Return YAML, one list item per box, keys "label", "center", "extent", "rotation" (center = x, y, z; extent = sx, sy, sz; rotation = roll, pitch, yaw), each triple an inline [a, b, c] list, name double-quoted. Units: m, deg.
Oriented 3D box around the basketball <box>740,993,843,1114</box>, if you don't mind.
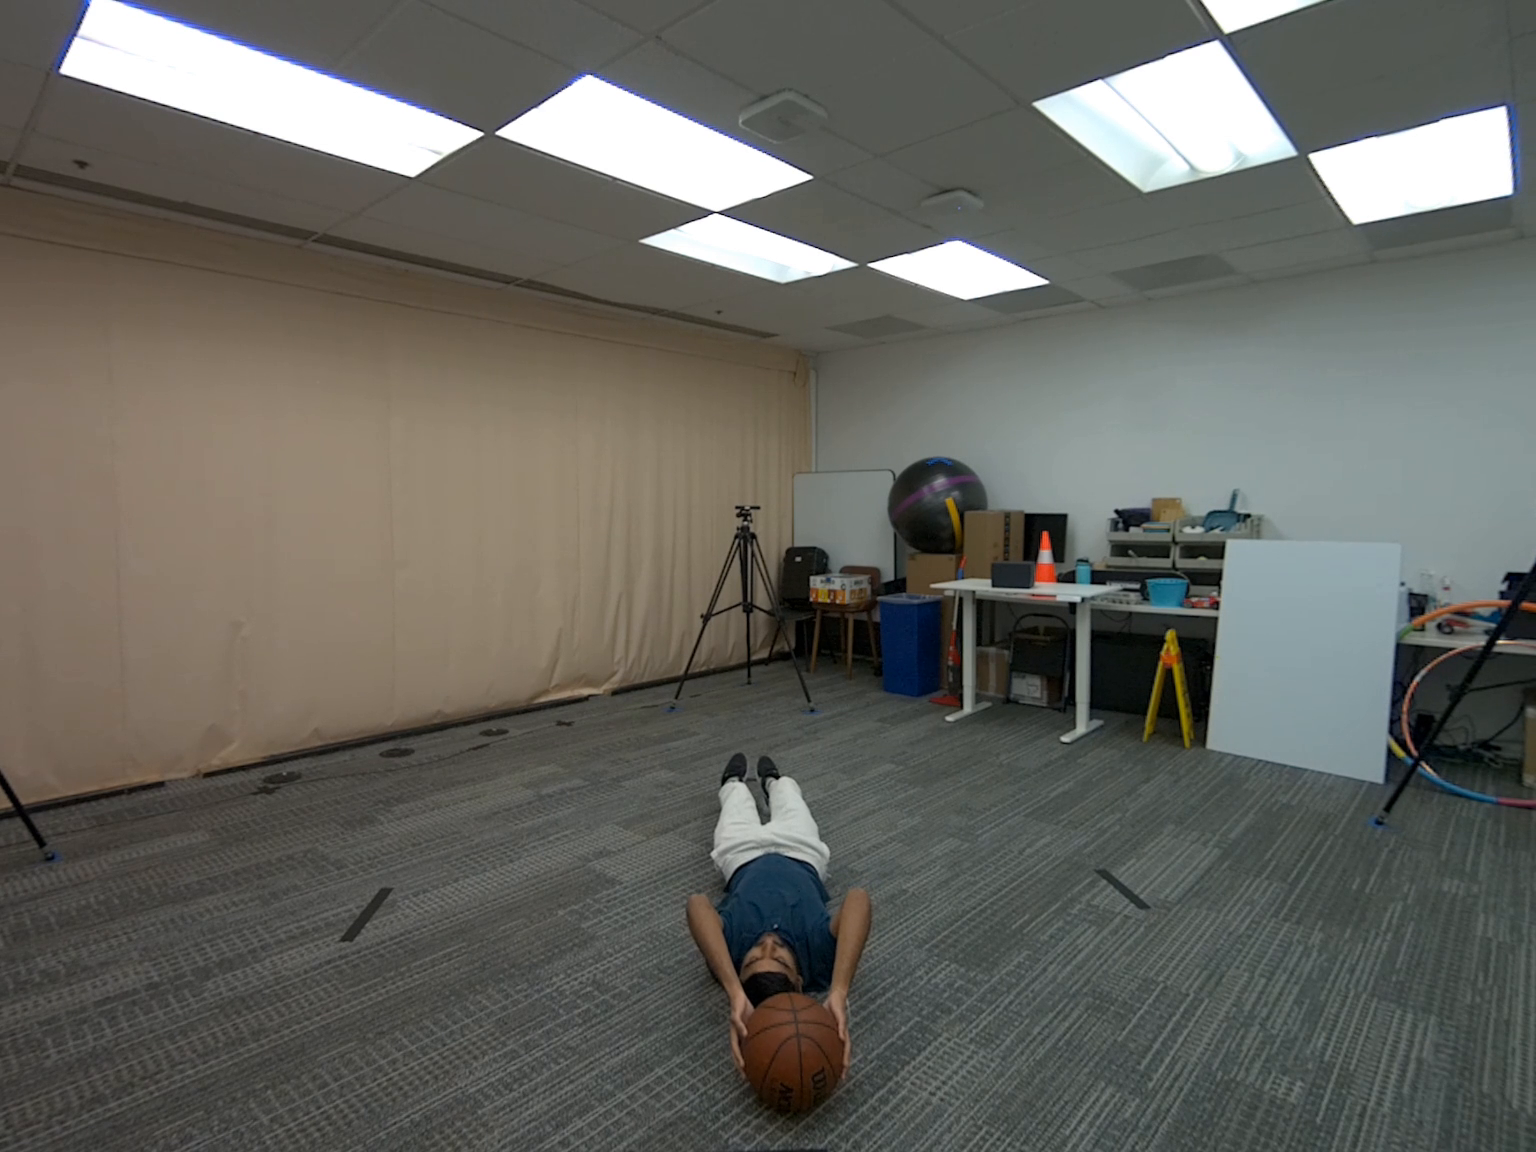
- label: "basketball"
  center: [0.063, 1.111, 1.962]
  extent: [0.236, 0.235, 0.237]
  rotation: [0, 4, -2]
